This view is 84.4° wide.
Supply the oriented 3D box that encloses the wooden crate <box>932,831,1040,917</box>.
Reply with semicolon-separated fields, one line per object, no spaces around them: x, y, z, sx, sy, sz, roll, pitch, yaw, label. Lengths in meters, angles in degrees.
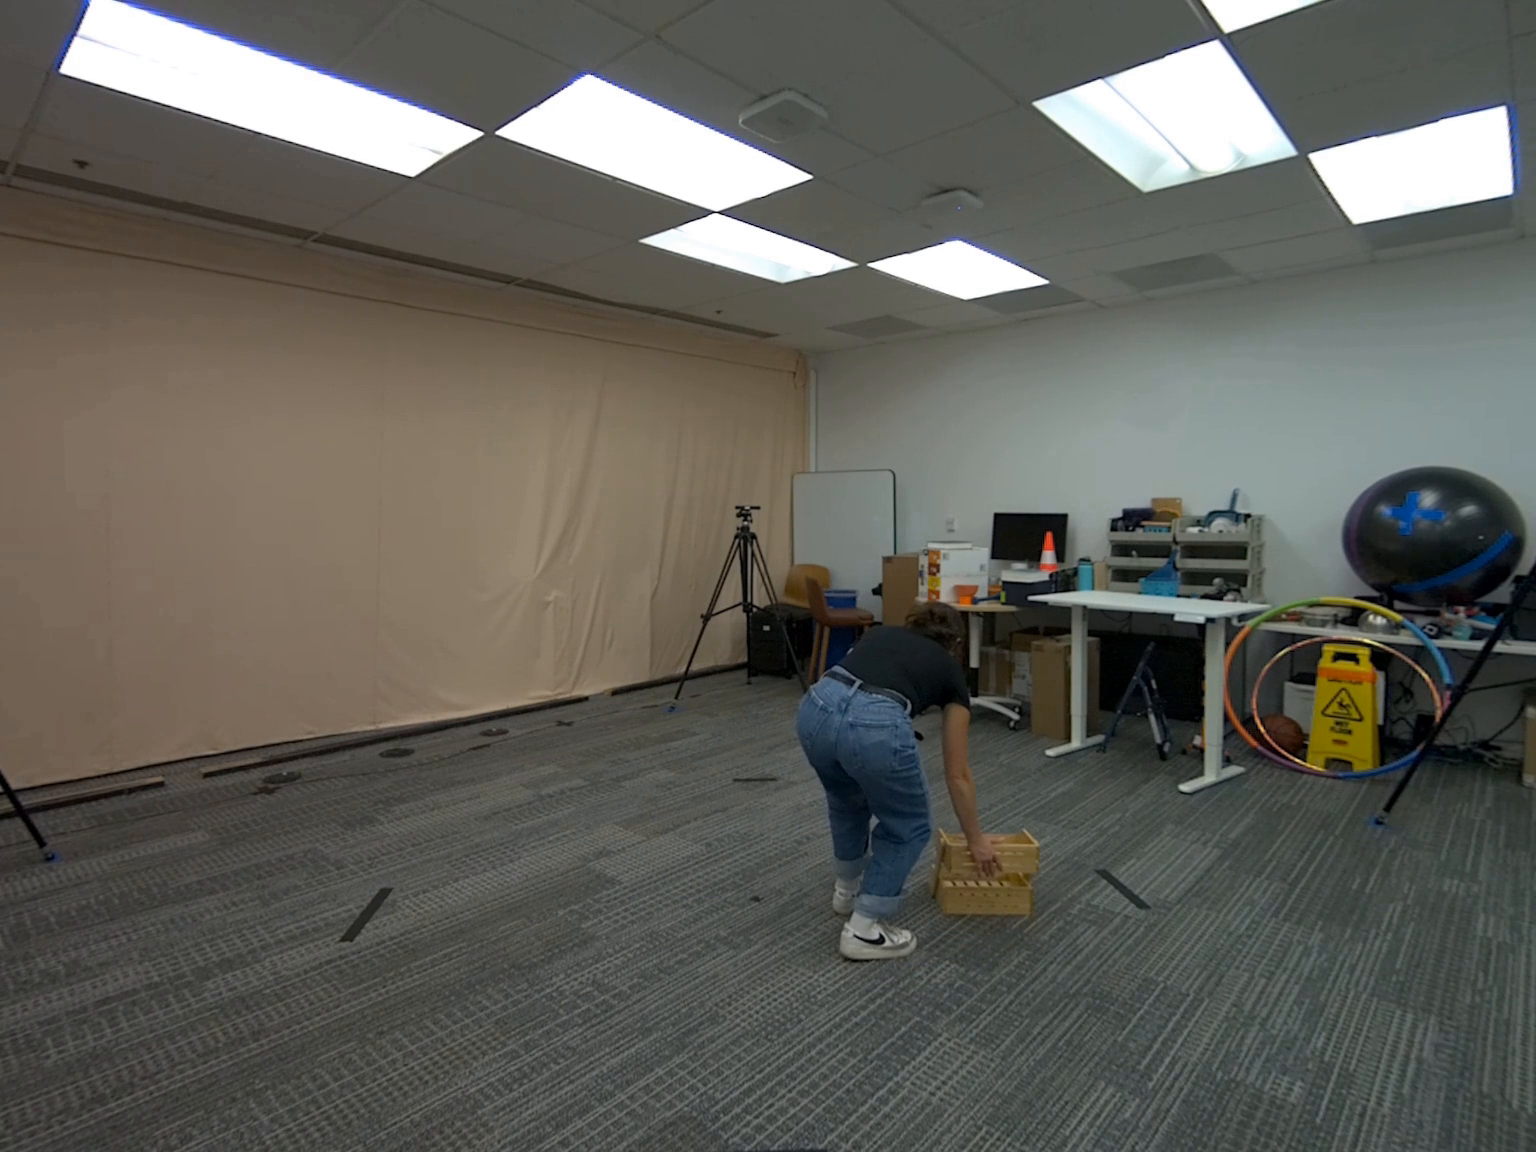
0.751;1.012;2.953;0.324;0.273;0.303;0;4;-1;wooden crate
